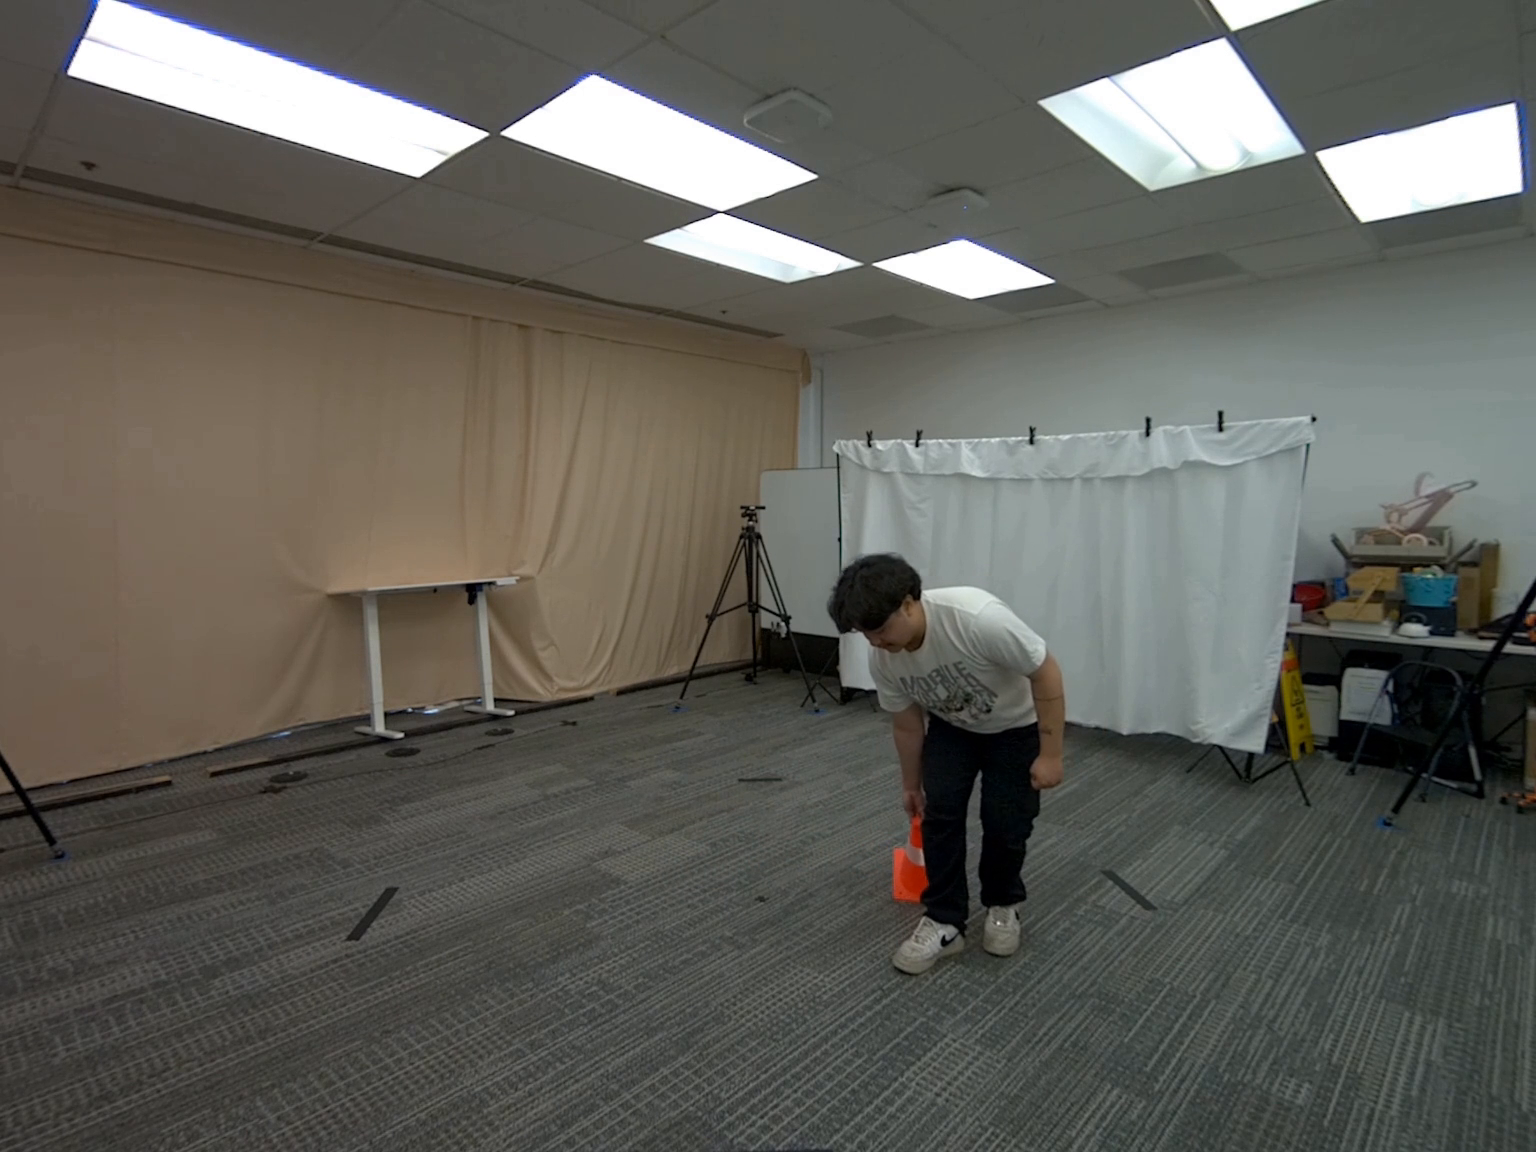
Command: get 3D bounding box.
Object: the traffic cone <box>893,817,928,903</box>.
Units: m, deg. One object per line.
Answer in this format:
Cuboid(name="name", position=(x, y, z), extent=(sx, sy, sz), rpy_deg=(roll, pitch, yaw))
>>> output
Cuboid(name="traffic cone", position=(0.530, 0.945, 2.901), extent=(0.208, 0.374, 0.206), rpy_deg=(-2, 41, 11))
